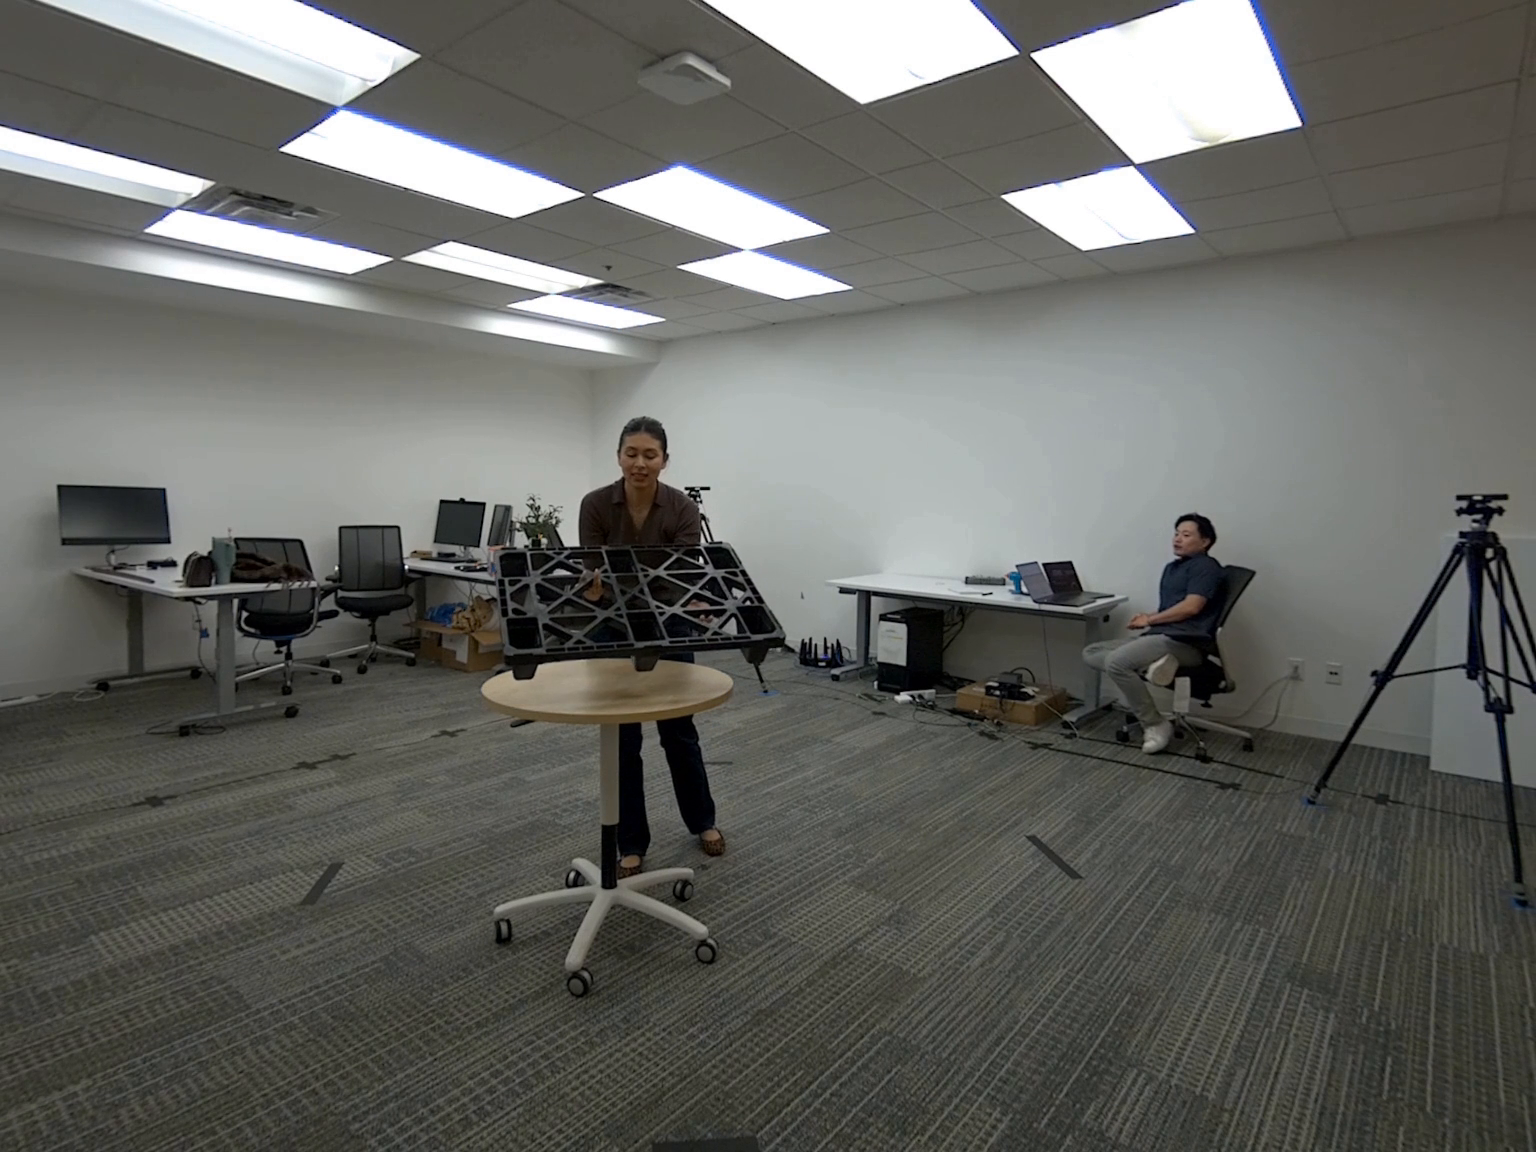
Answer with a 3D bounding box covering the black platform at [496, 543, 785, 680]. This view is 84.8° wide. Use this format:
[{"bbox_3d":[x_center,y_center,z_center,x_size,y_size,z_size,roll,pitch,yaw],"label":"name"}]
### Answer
[{"bbox_3d":[-0.420,0.102,2.618,0.791,0.140,0.629,-4,31,-18],"label":"black platform"}]
